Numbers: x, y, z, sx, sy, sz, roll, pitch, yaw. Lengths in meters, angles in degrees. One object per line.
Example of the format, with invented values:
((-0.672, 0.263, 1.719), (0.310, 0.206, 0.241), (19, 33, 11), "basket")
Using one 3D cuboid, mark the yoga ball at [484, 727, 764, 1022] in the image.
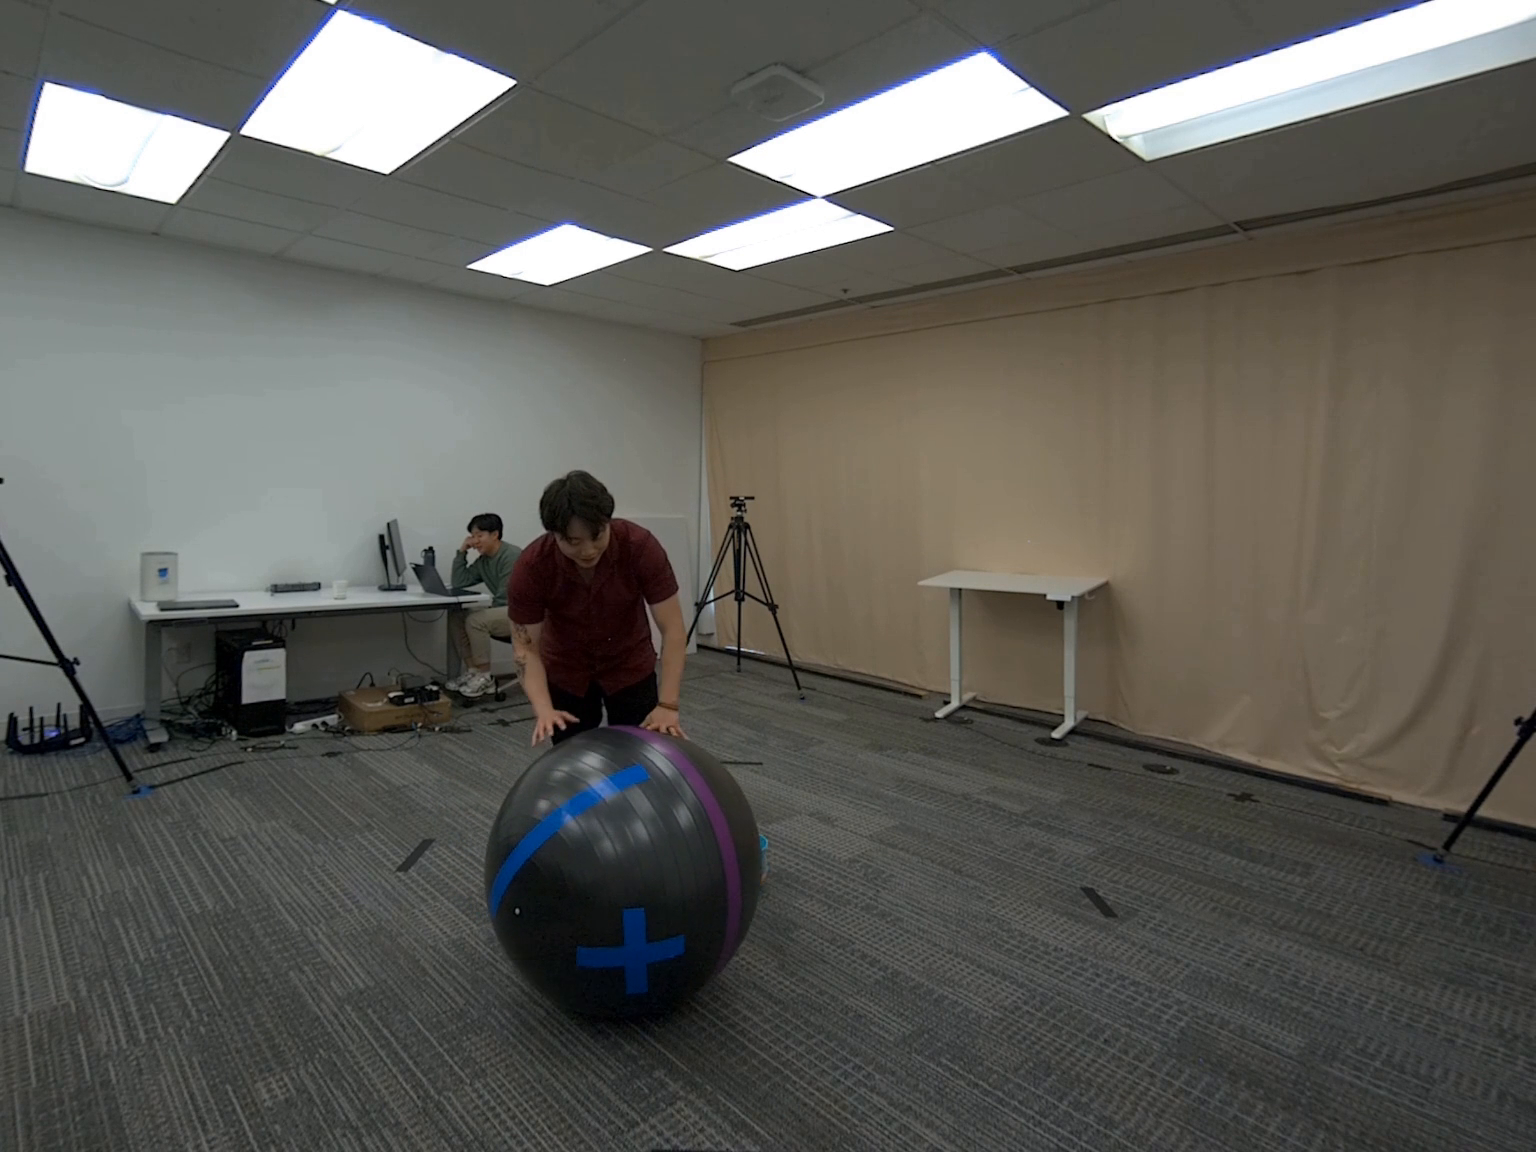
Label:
((-0.405, 0.811, 2.344), (0.757, 0.756, 0.761), (1, 4, -1), "yoga ball")
